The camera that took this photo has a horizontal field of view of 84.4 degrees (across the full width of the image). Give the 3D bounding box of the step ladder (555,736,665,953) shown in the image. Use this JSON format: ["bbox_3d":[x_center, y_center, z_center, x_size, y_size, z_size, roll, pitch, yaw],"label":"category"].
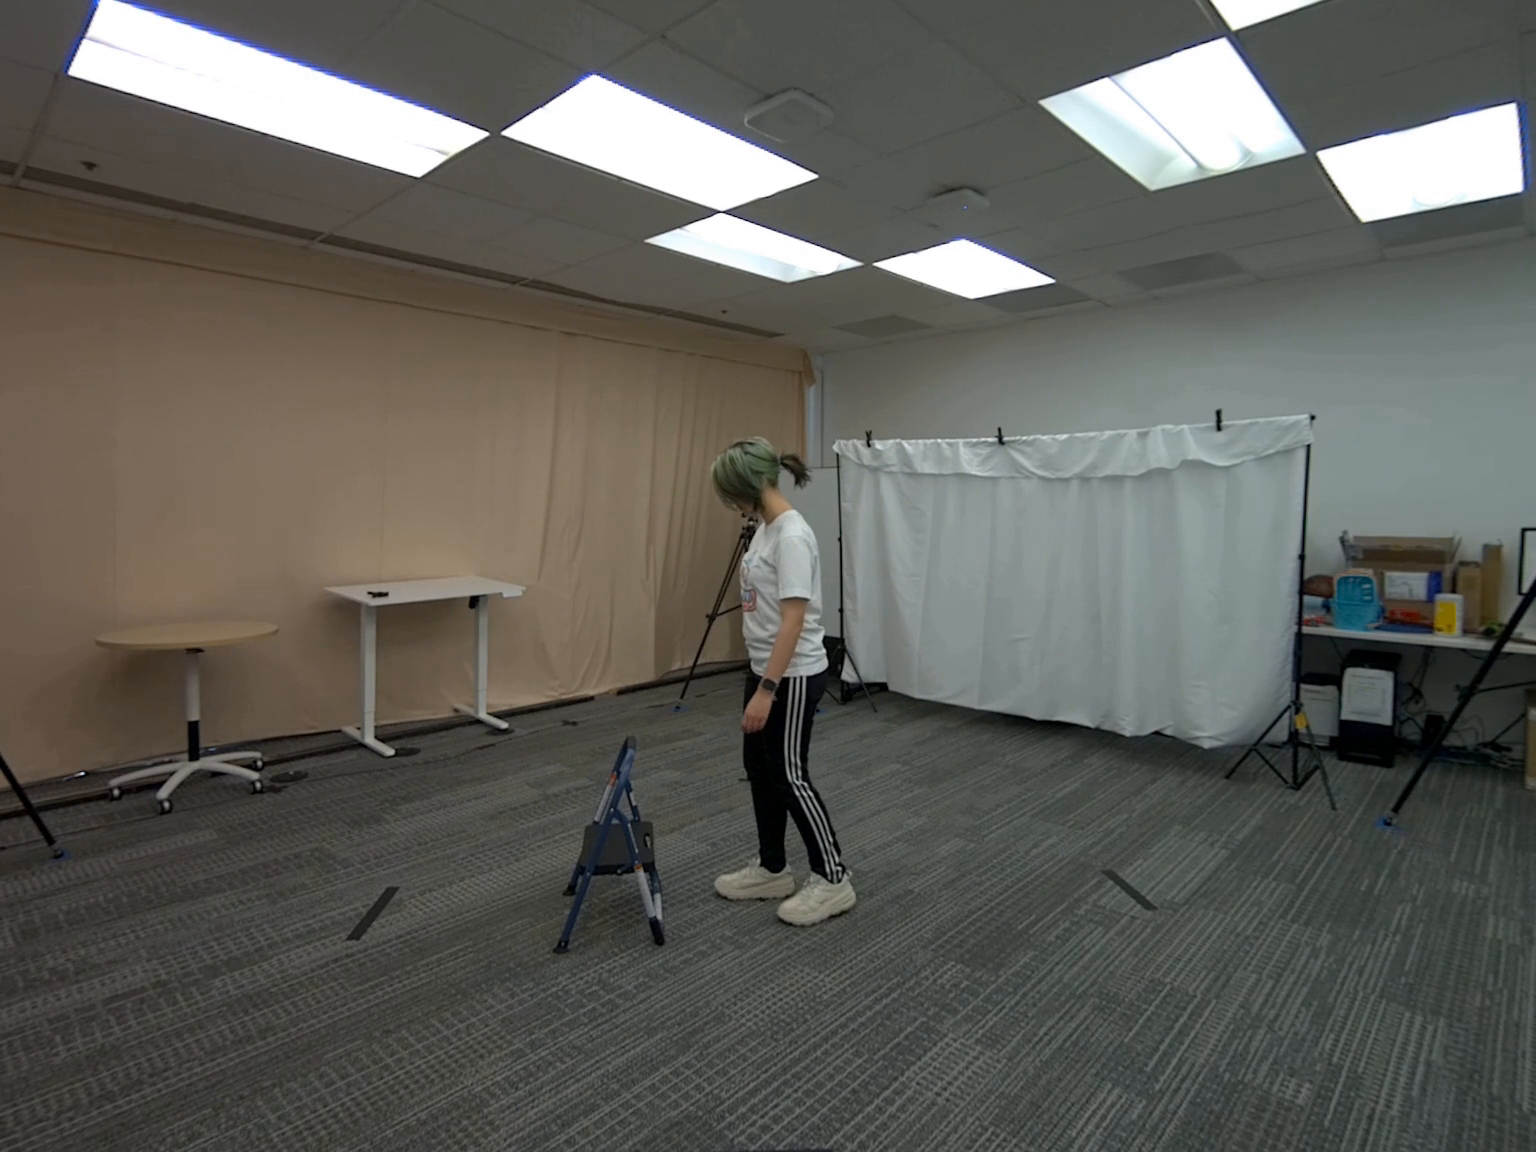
[{"bbox_3d":[-0.531,0.863,2.837,0.346,0.605,0.435,-1,3,-9],"label":"step ladder"}]
